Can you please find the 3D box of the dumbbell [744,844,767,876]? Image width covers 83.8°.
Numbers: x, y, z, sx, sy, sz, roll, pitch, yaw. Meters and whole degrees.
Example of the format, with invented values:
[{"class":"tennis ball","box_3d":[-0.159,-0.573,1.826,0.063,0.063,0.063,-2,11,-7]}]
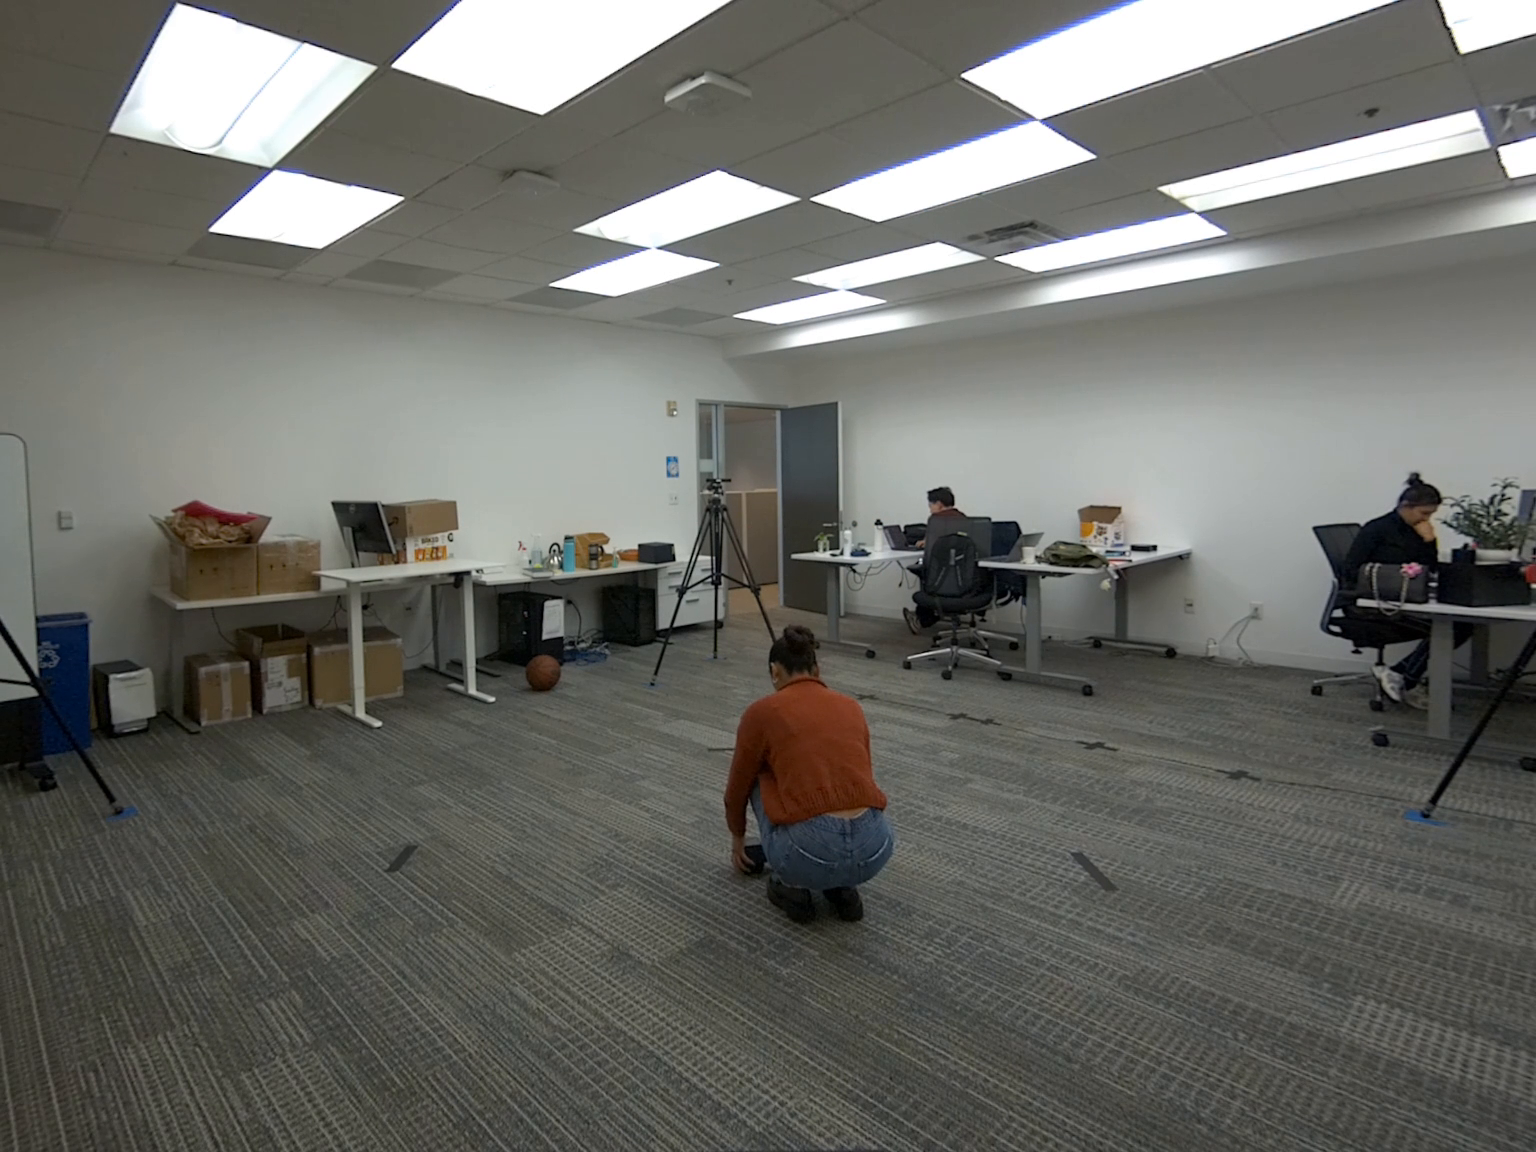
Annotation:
[{"class":"dumbbell","box_3d":[0.056,0.999,3.064,0.291,0.120,0.112,-2,37,-11]}]
